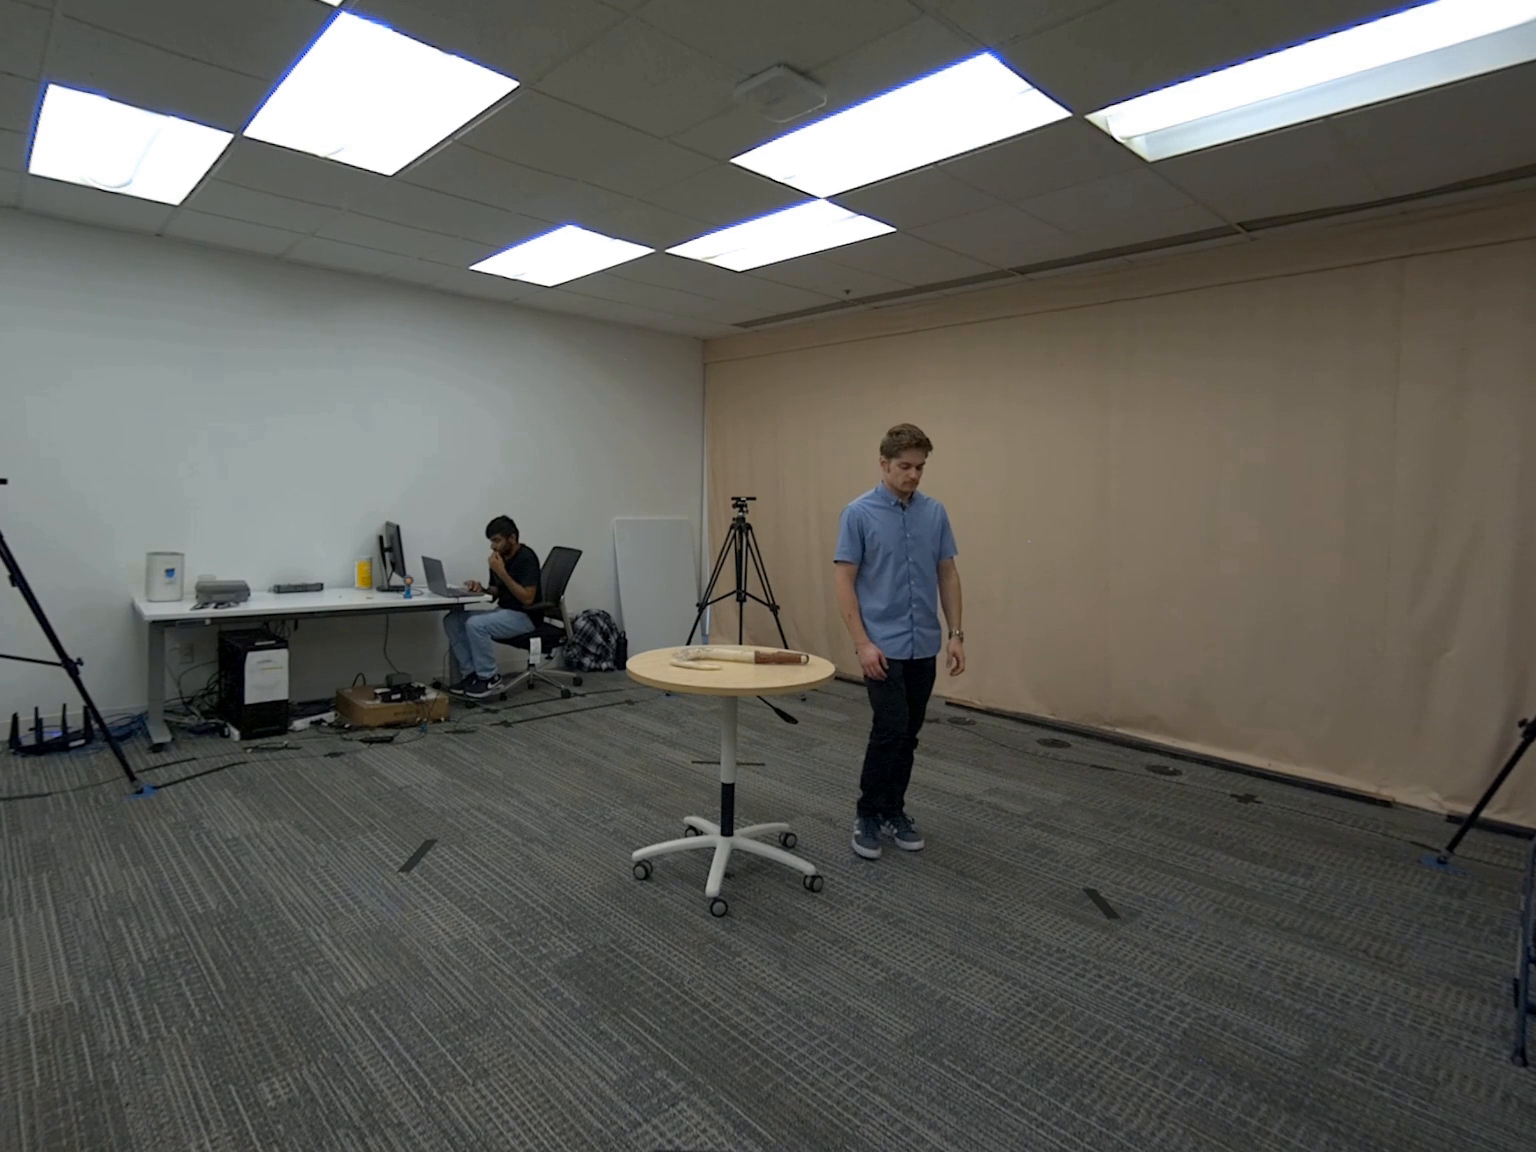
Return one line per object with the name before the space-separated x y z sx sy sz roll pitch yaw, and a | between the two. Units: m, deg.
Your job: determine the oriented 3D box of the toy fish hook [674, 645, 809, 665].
toy fish hook | -0.107 0.315 3.072 0.508 0.048 0.226 0 12 3
